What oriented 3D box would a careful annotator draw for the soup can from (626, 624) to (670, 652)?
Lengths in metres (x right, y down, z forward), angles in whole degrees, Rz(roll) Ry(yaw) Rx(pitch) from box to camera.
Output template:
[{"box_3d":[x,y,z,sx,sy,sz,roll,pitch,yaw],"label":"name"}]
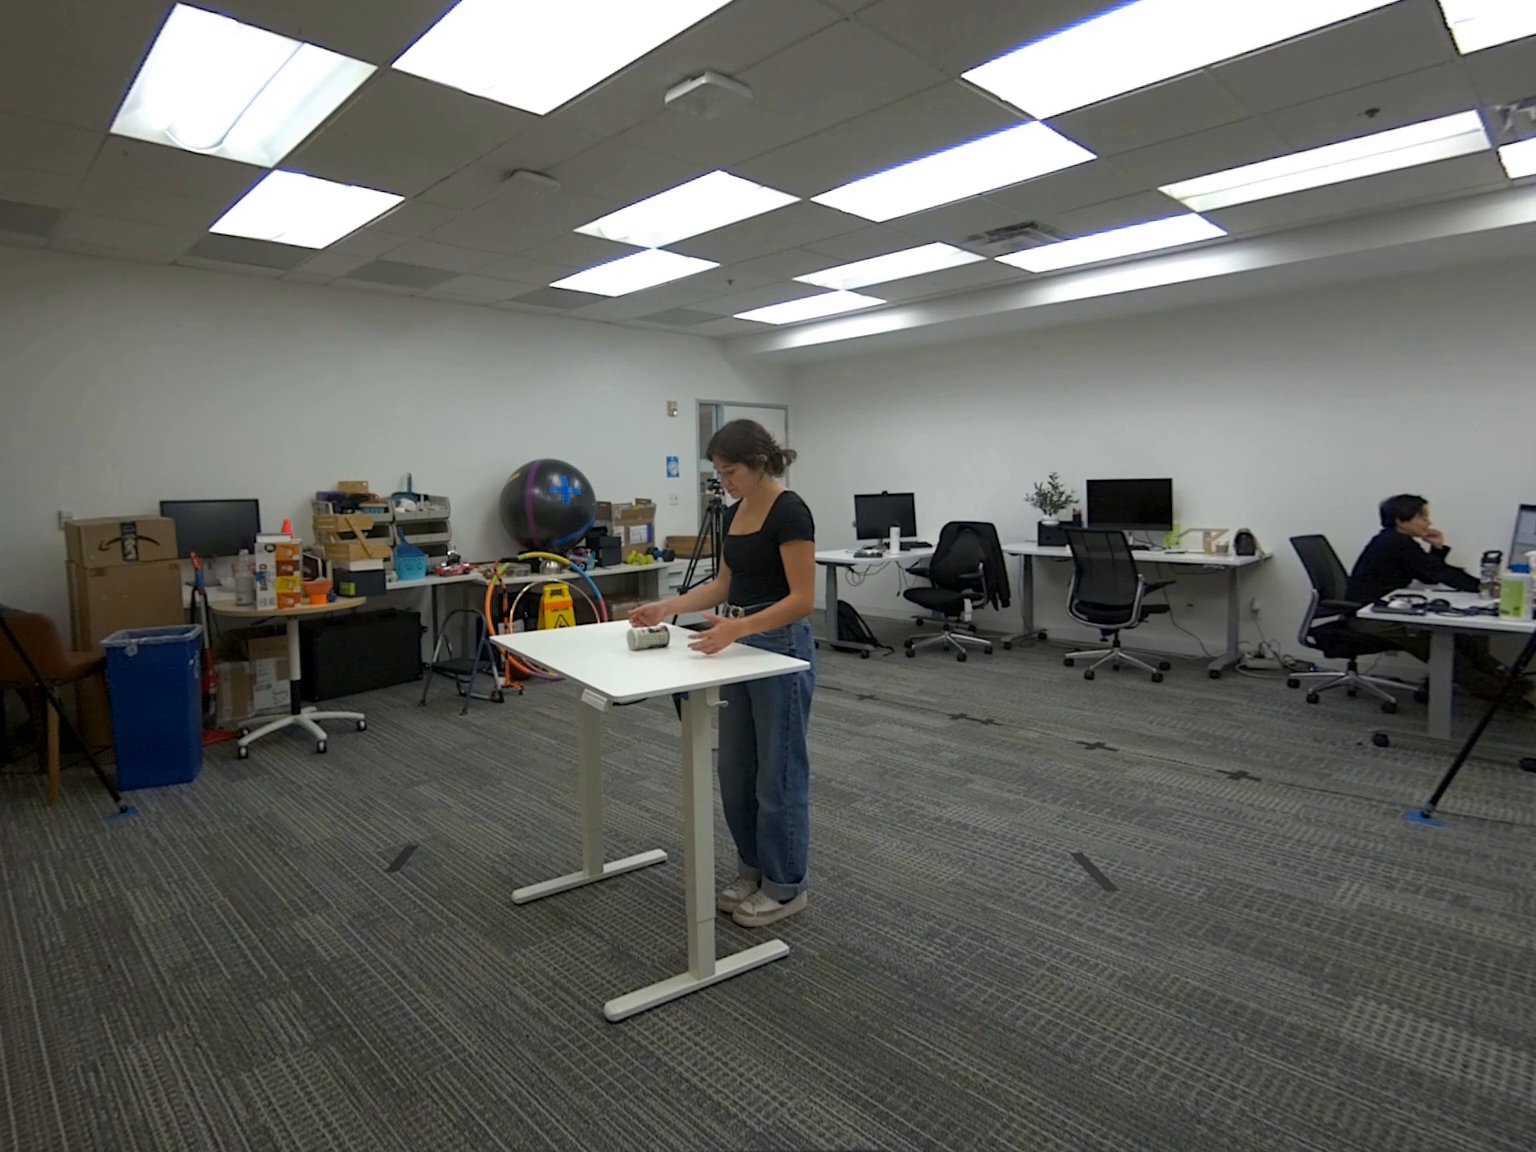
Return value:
[{"box_3d":[-0.368,0.189,2.638,0.119,0.067,0.069,-5,6,-24],"label":"soup can"}]
